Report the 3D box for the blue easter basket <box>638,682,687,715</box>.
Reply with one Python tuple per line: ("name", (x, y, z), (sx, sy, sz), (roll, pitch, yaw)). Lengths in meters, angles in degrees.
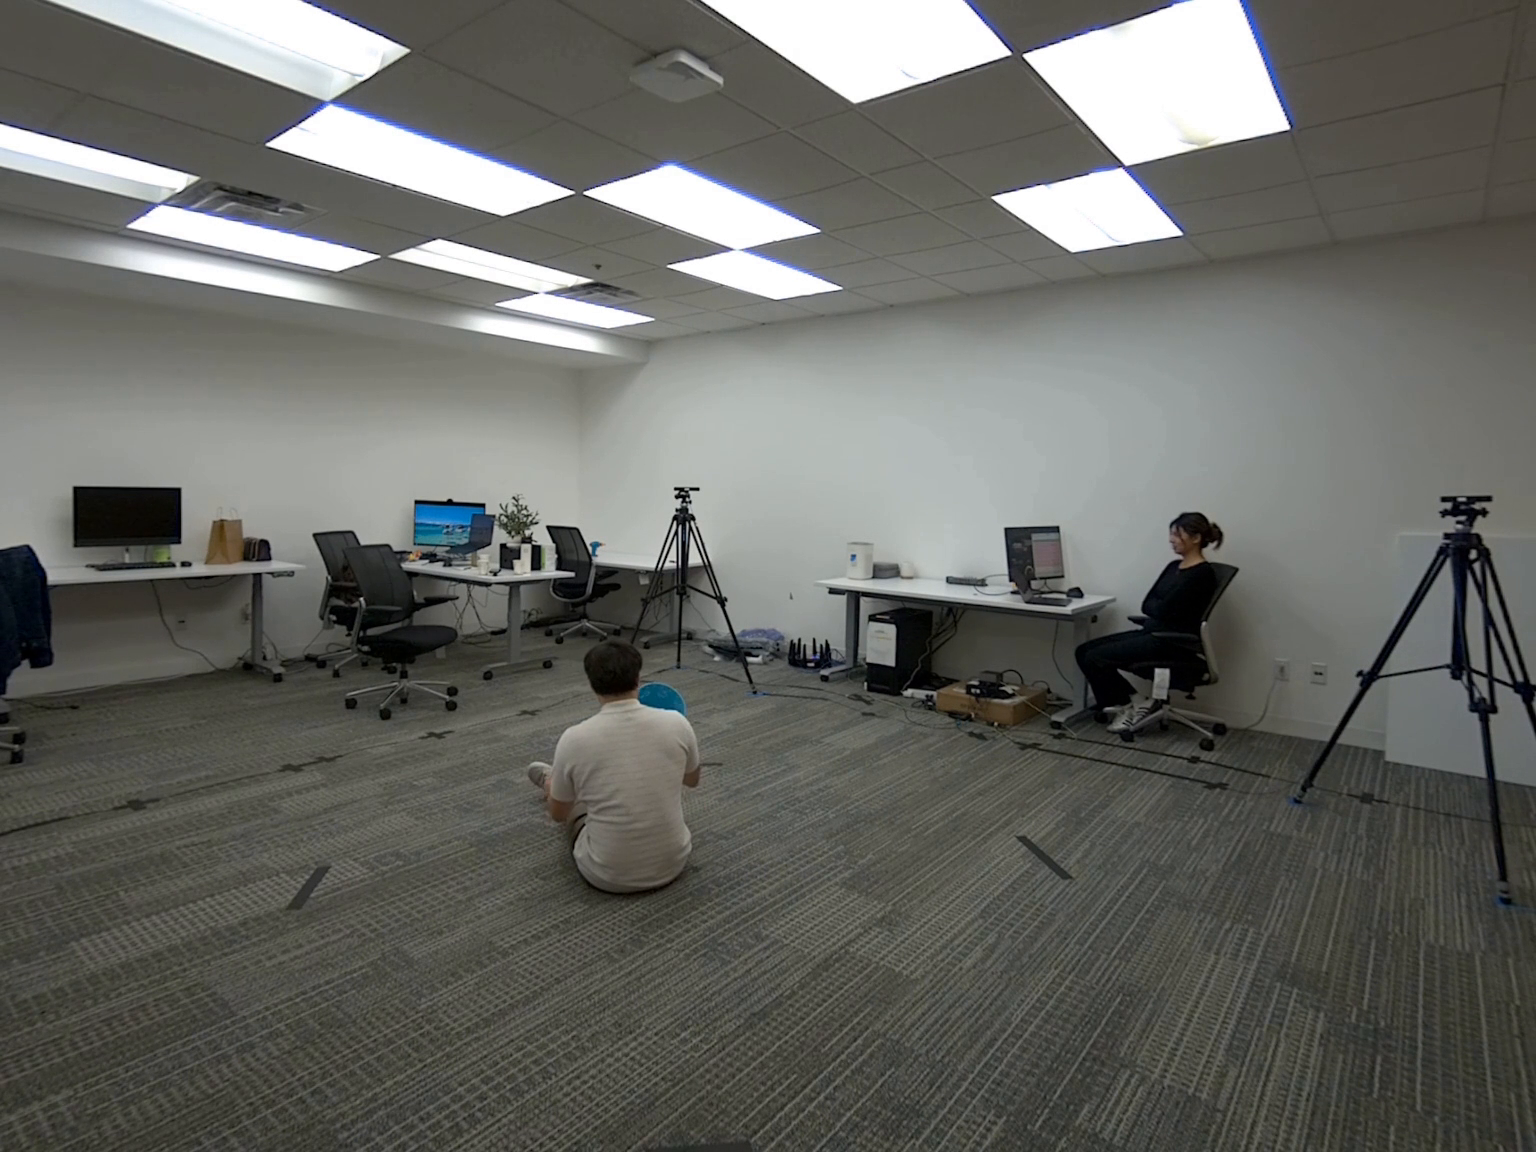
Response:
("blue easter basket", (-0.478, 0.584, 3.542), (0.240, 0.251, 0.153), (-1, -36, -15))
